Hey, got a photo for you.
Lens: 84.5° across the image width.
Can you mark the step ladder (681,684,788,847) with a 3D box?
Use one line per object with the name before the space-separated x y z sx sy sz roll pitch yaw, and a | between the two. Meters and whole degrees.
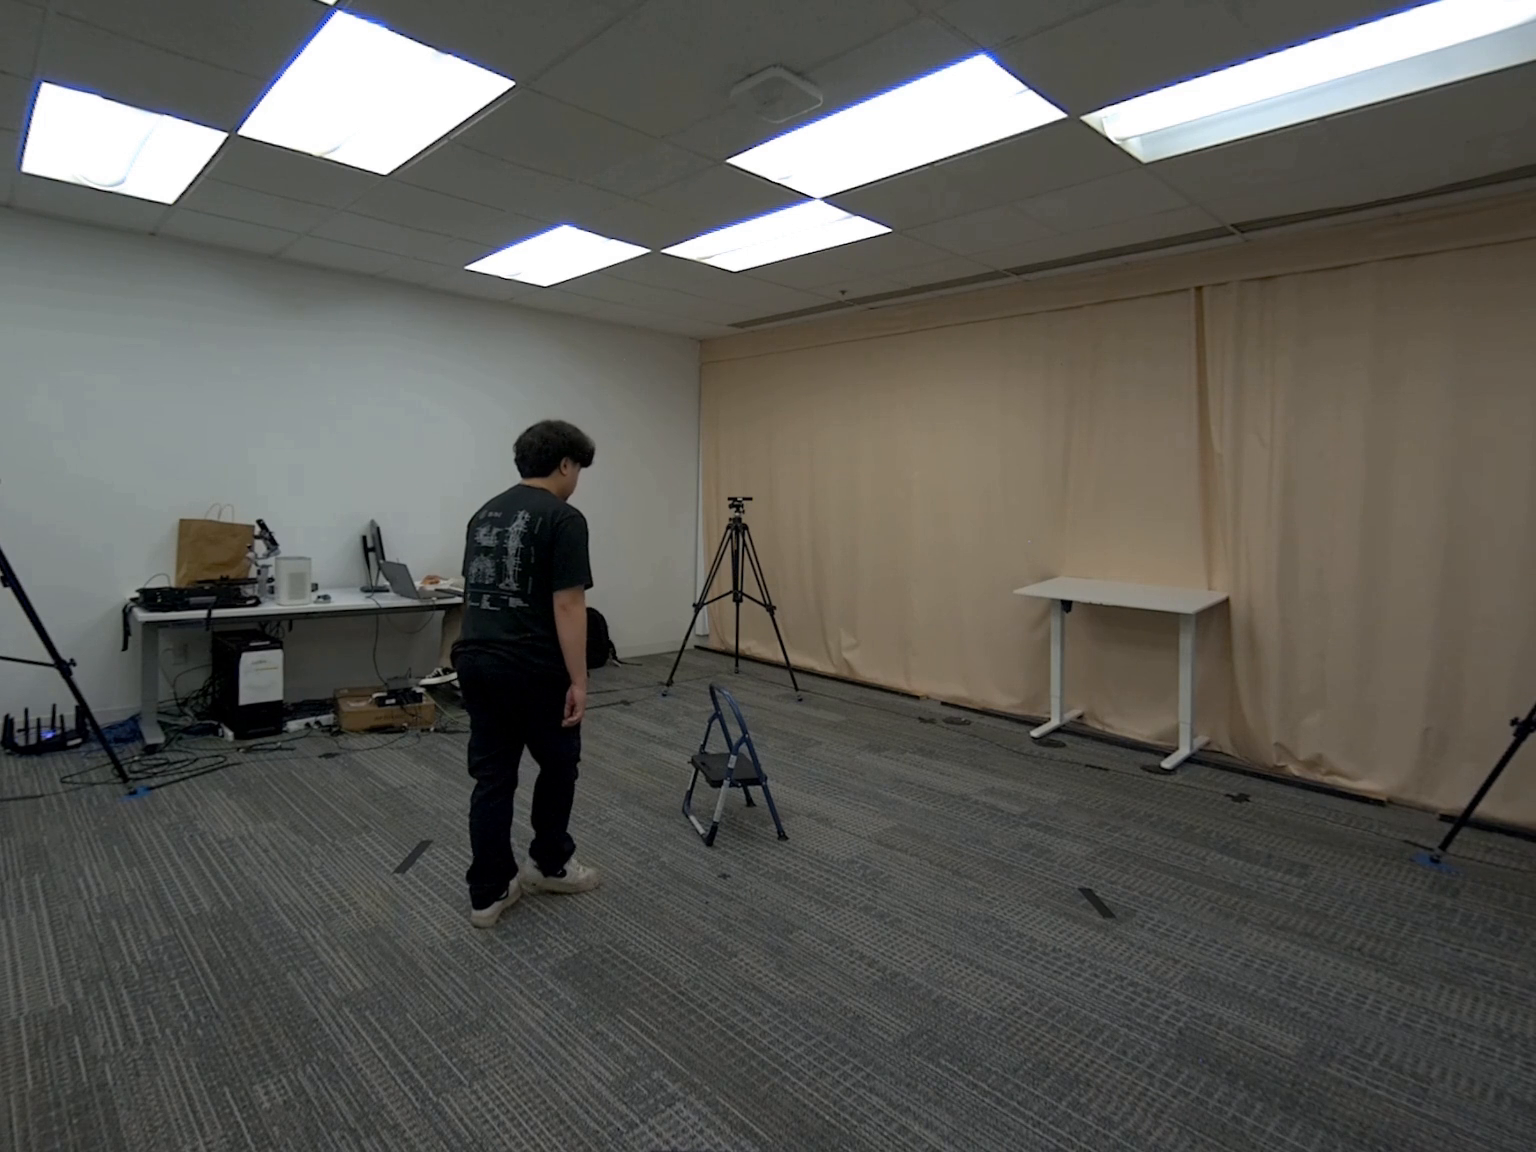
step ladder | -0.153 0.763 3.588 0.344 0.605 0.438 0 3 -20
